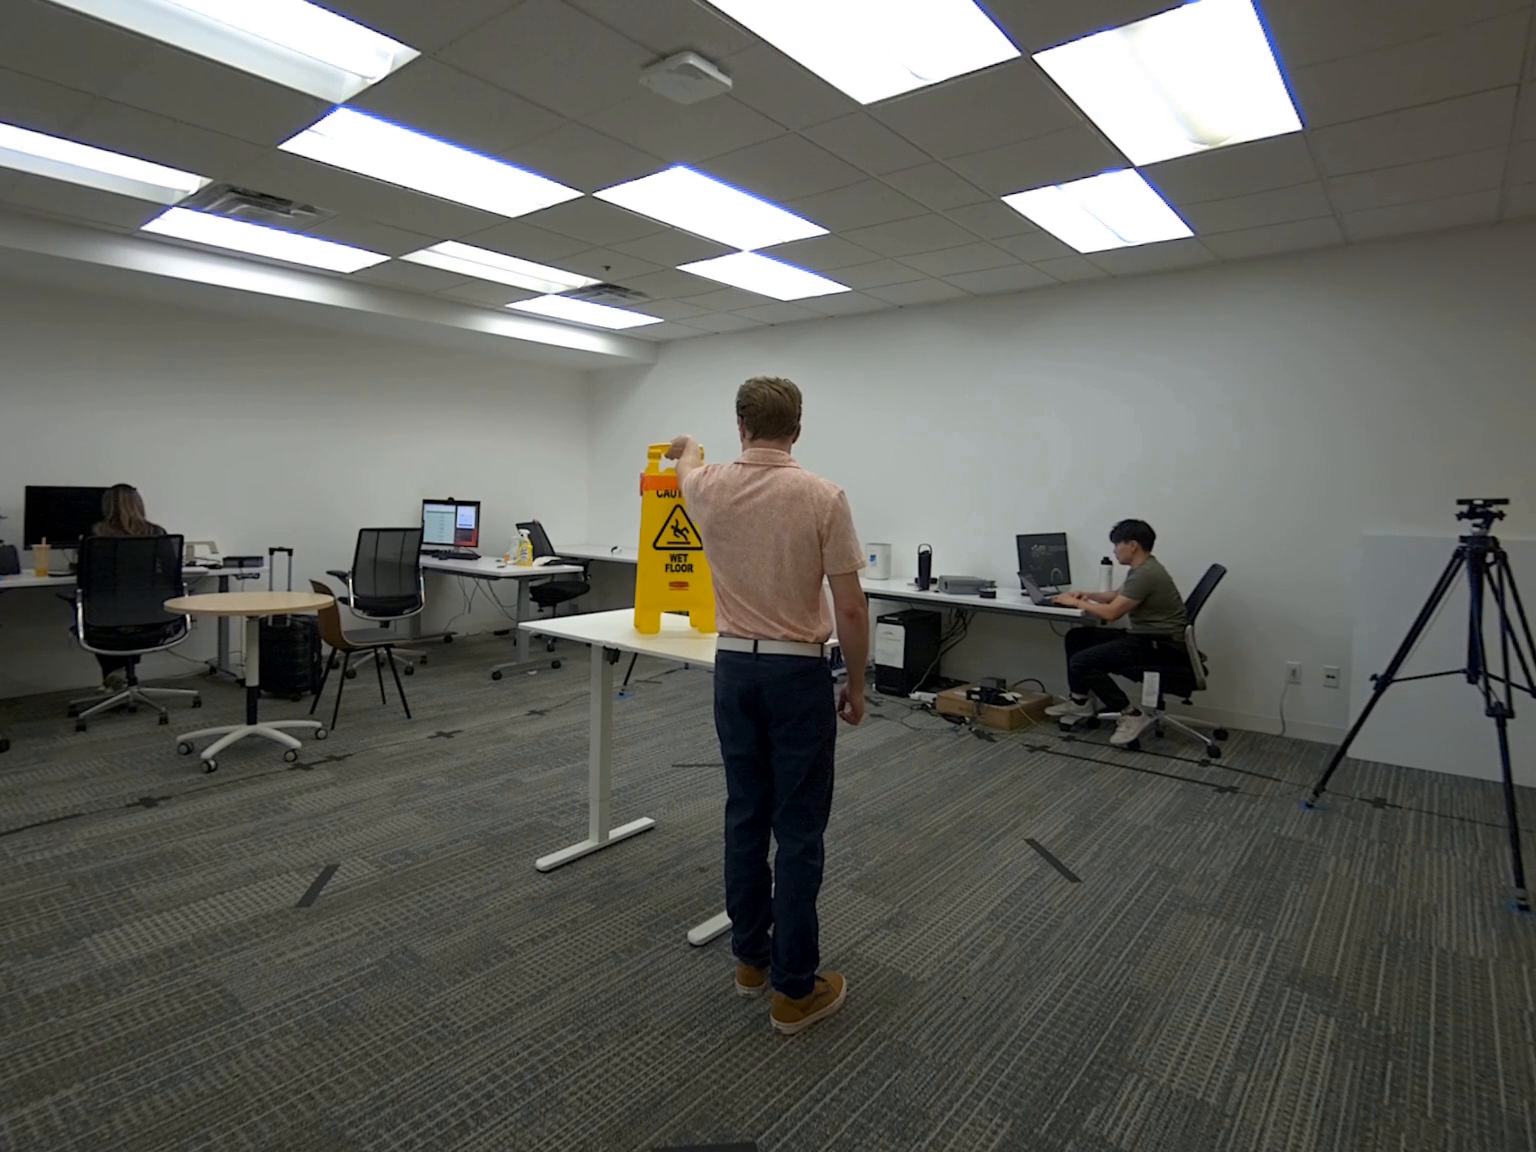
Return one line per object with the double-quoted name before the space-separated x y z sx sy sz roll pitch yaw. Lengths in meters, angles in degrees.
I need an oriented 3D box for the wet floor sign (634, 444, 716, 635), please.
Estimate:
"wet floor sign" -0.336 -0.130 2.978 0.281 0.647 0.291 -1 -1 -6
